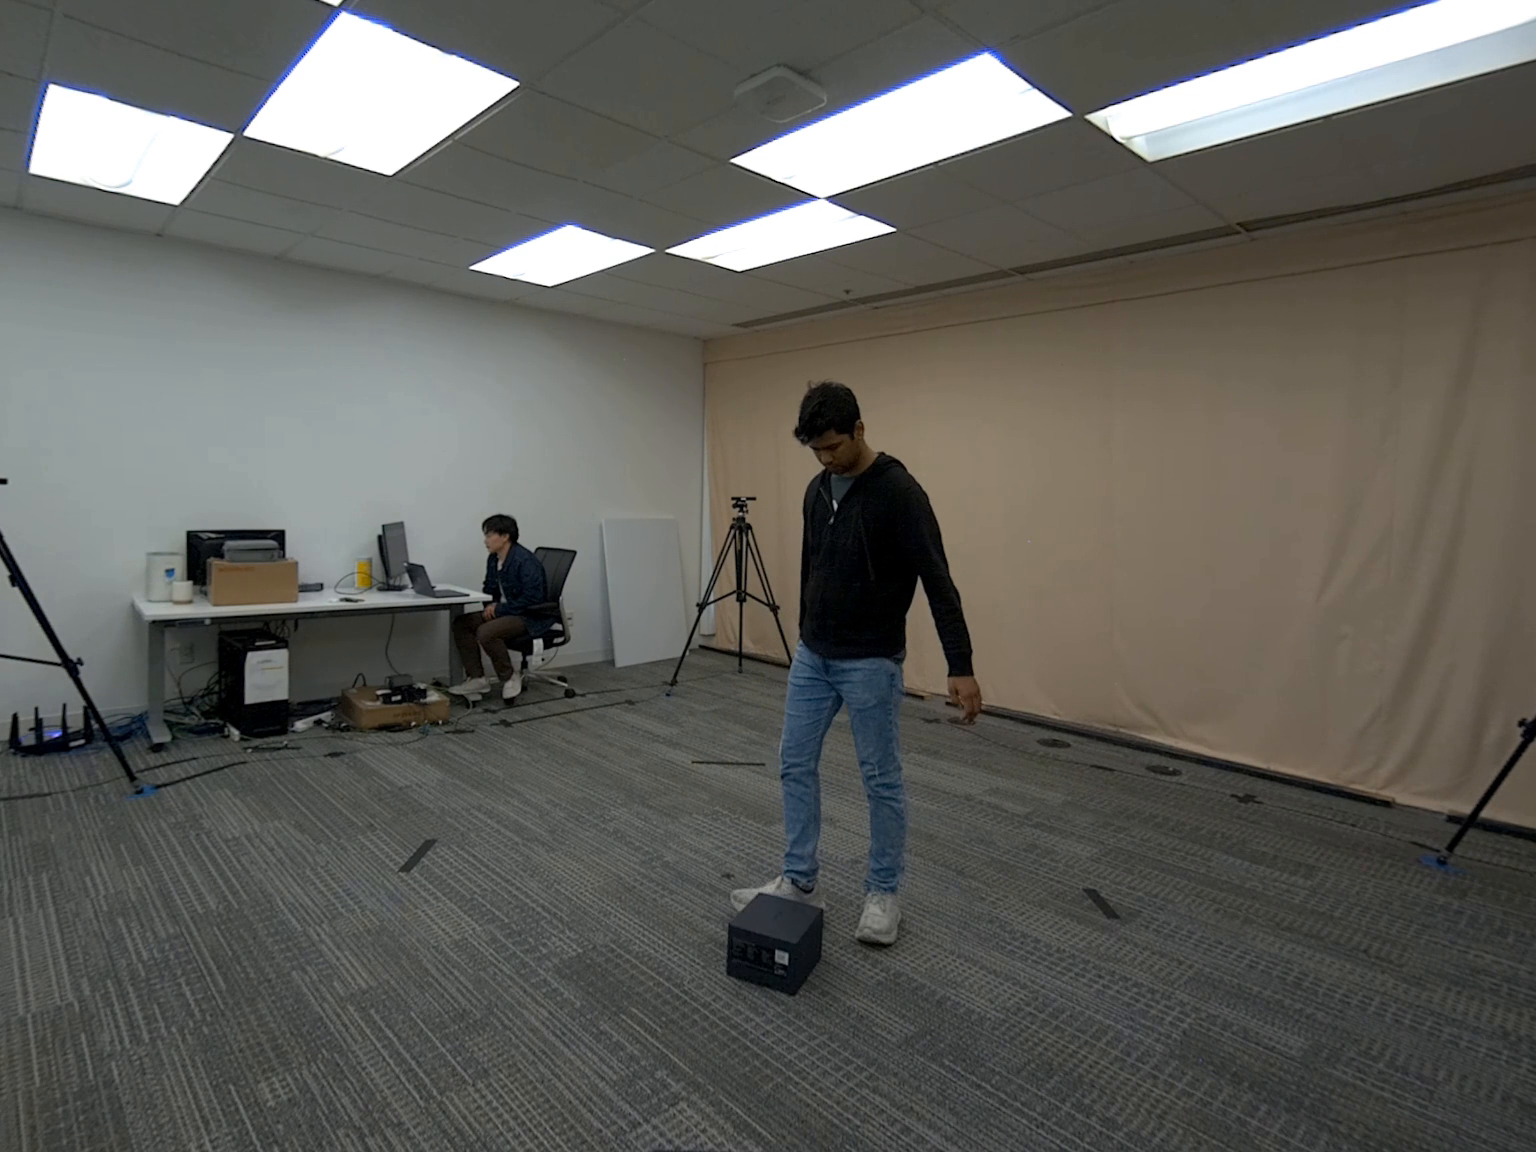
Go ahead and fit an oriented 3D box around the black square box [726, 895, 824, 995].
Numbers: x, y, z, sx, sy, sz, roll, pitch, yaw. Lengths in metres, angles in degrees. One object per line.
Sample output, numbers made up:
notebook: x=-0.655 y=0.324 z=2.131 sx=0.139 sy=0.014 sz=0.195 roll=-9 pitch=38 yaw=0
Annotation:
black square box: x=0.018 y=1.079 z=2.506 sx=0.221 sy=0.155 sz=0.224 roll=3 pitch=5 yaw=25
